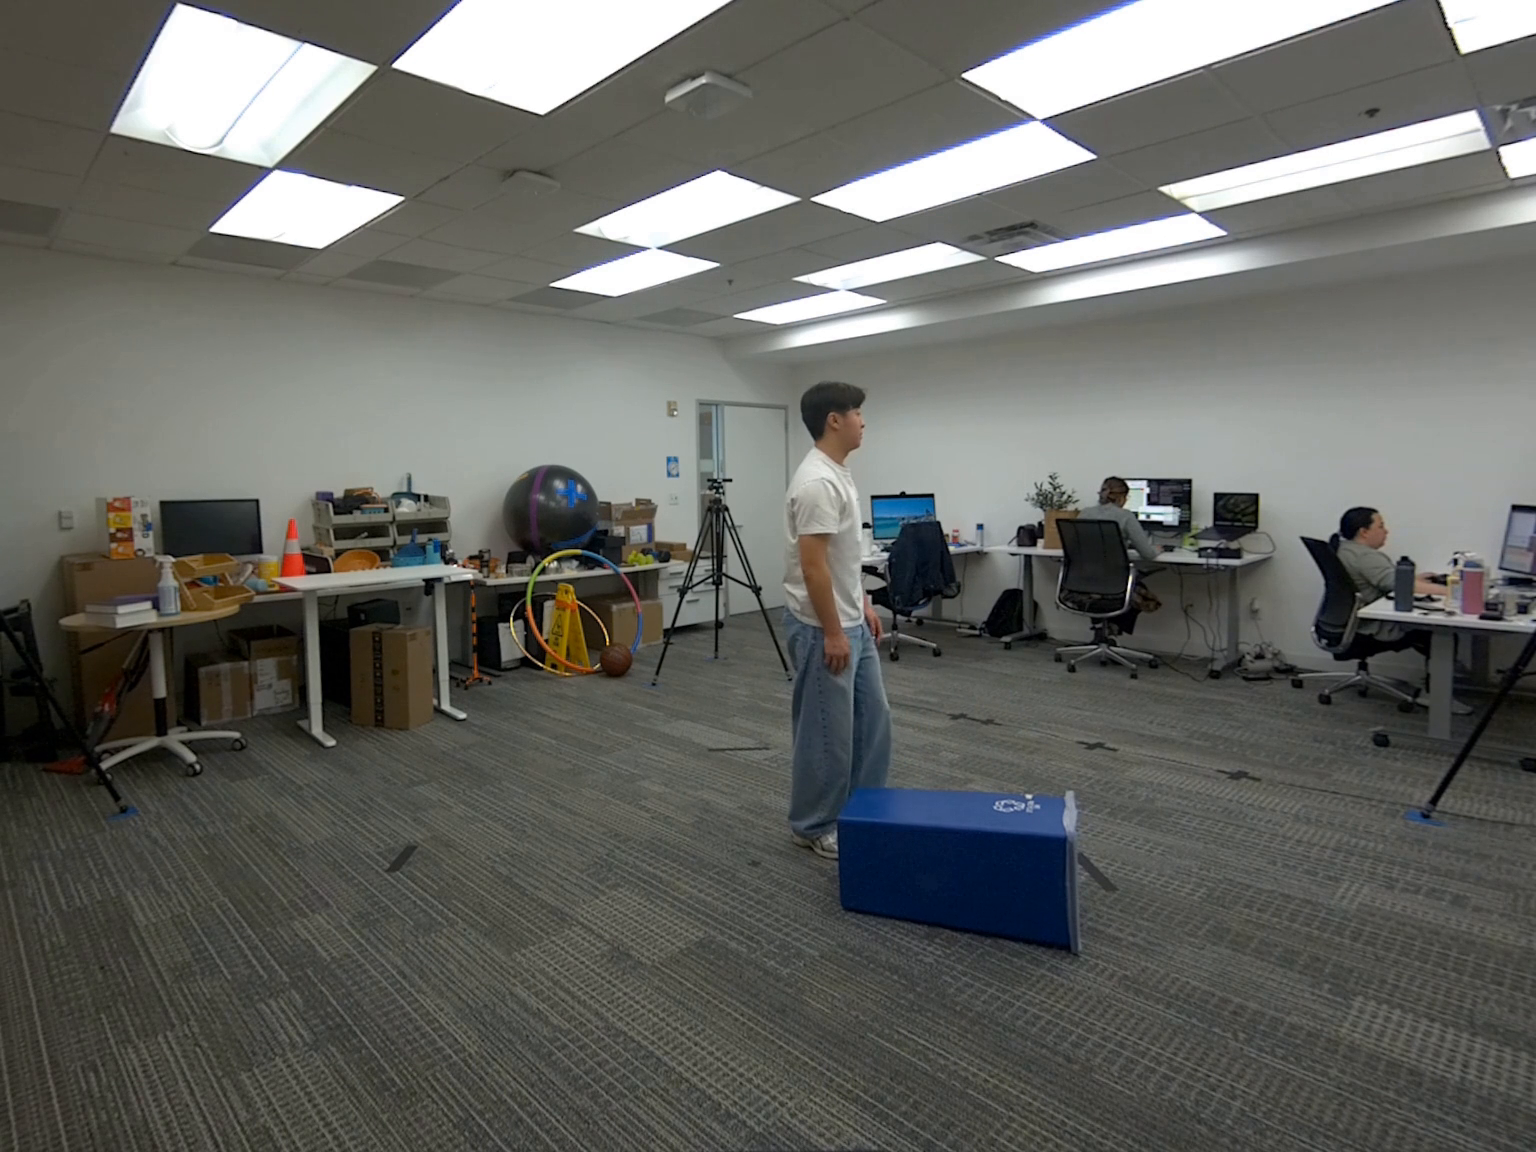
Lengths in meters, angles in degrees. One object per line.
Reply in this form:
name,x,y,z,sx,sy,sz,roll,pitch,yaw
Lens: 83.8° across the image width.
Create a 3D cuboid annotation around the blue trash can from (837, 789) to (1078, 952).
blue trash can,0.615,0.908,2.744,0.727,0.377,0.368,-2,4,21
